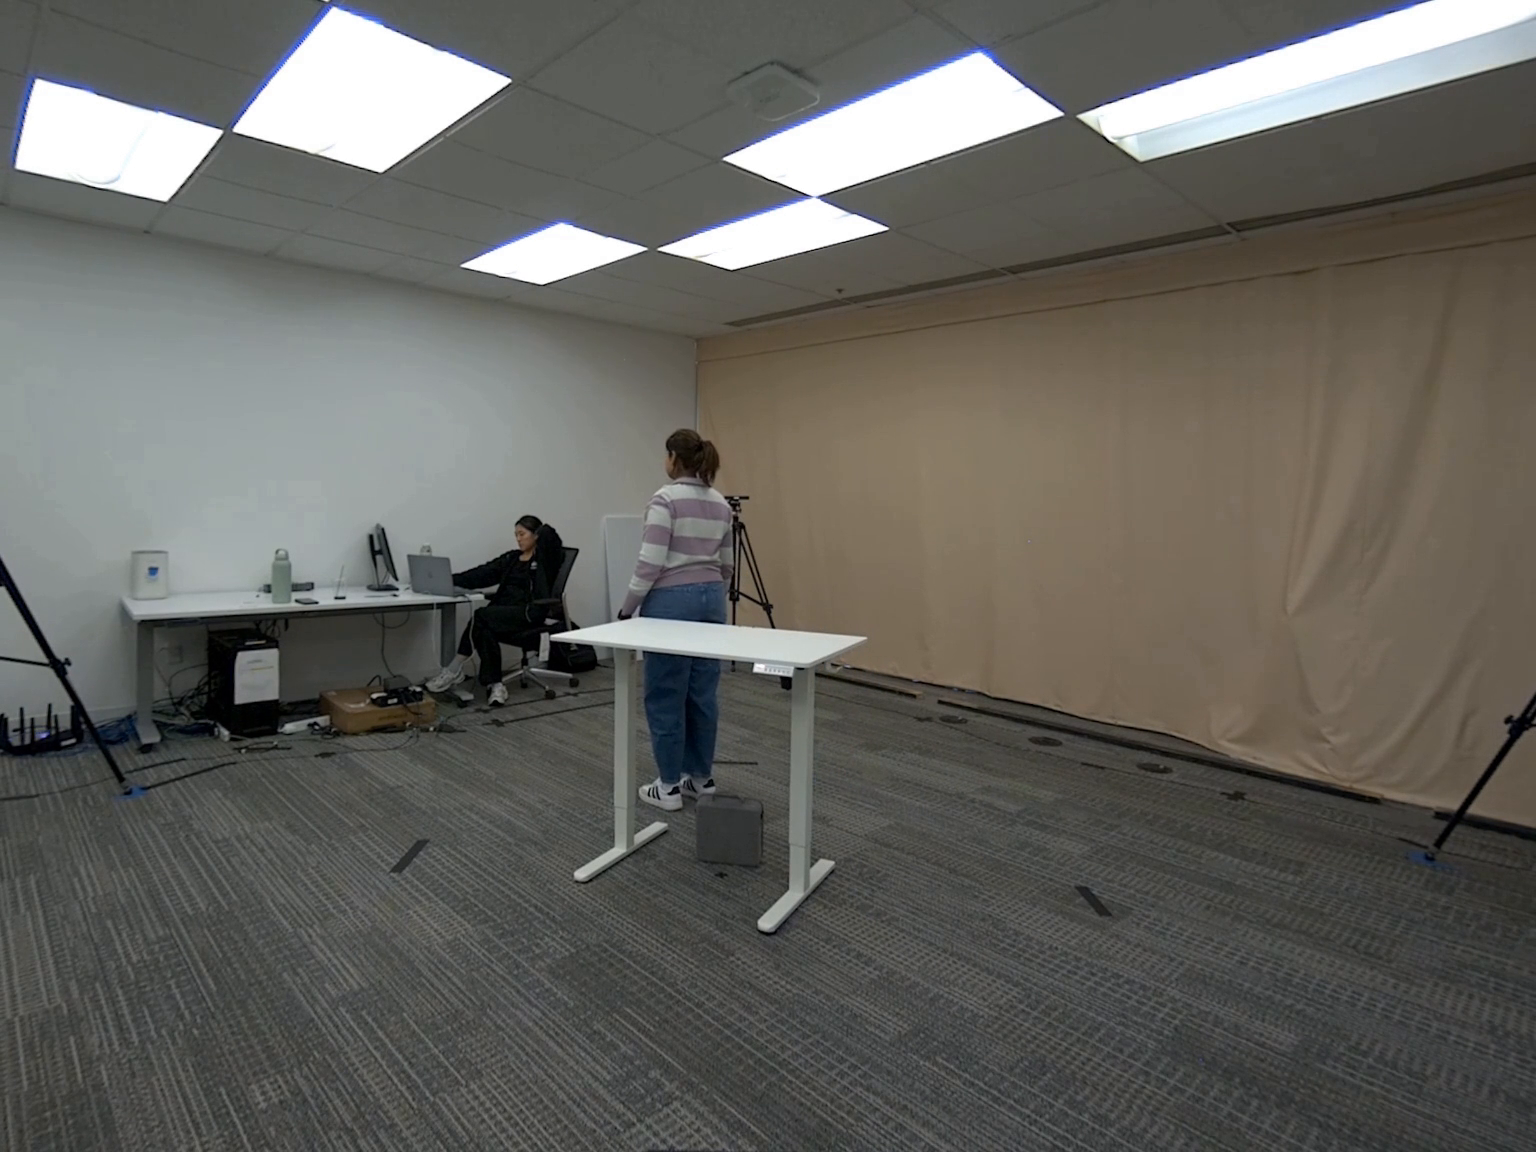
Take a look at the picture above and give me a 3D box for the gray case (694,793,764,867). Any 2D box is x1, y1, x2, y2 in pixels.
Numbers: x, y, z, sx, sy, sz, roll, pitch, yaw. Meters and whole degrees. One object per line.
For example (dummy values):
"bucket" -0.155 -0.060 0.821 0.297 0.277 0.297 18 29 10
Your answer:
"gray case" -0.145 0.964 3.204 0.259 0.258 0.104 1 10 9
